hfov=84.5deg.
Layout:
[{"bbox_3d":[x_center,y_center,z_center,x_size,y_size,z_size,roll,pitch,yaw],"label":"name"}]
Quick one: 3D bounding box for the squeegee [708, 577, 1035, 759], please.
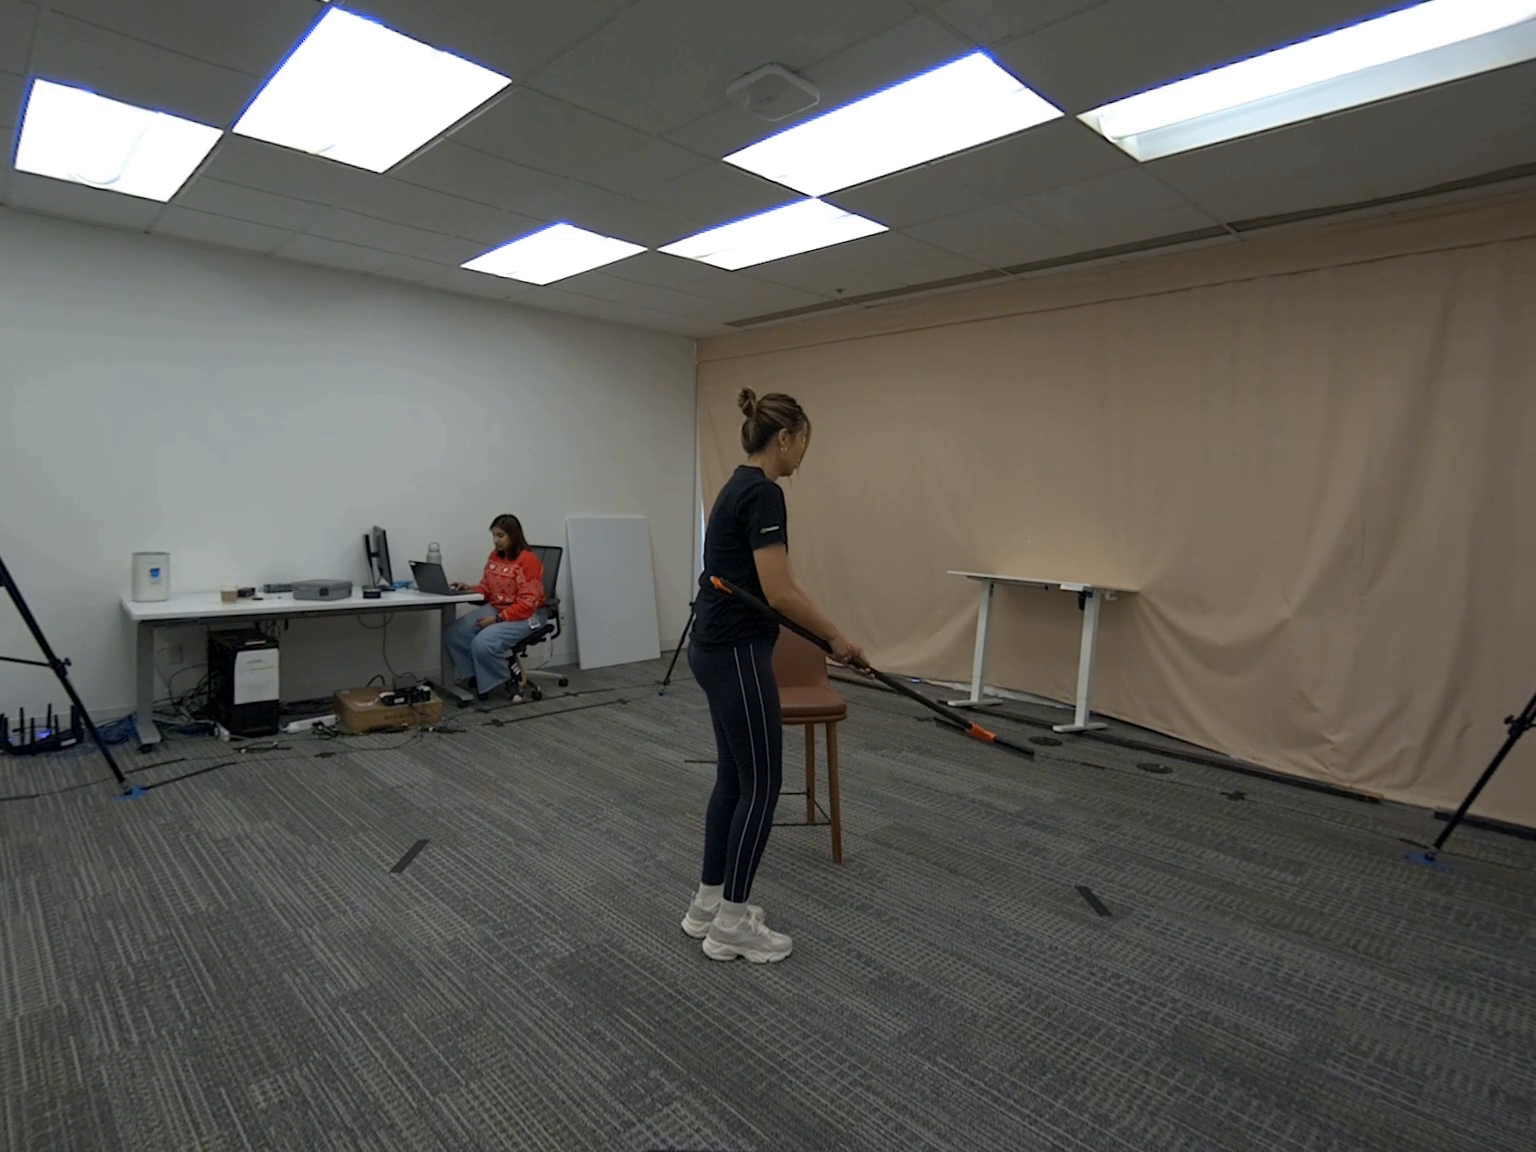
[{"bbox_3d":[0.323,0.289,2.740,1.490,0.053,0.450,32,-10,-39],"label":"squeegee"}]
